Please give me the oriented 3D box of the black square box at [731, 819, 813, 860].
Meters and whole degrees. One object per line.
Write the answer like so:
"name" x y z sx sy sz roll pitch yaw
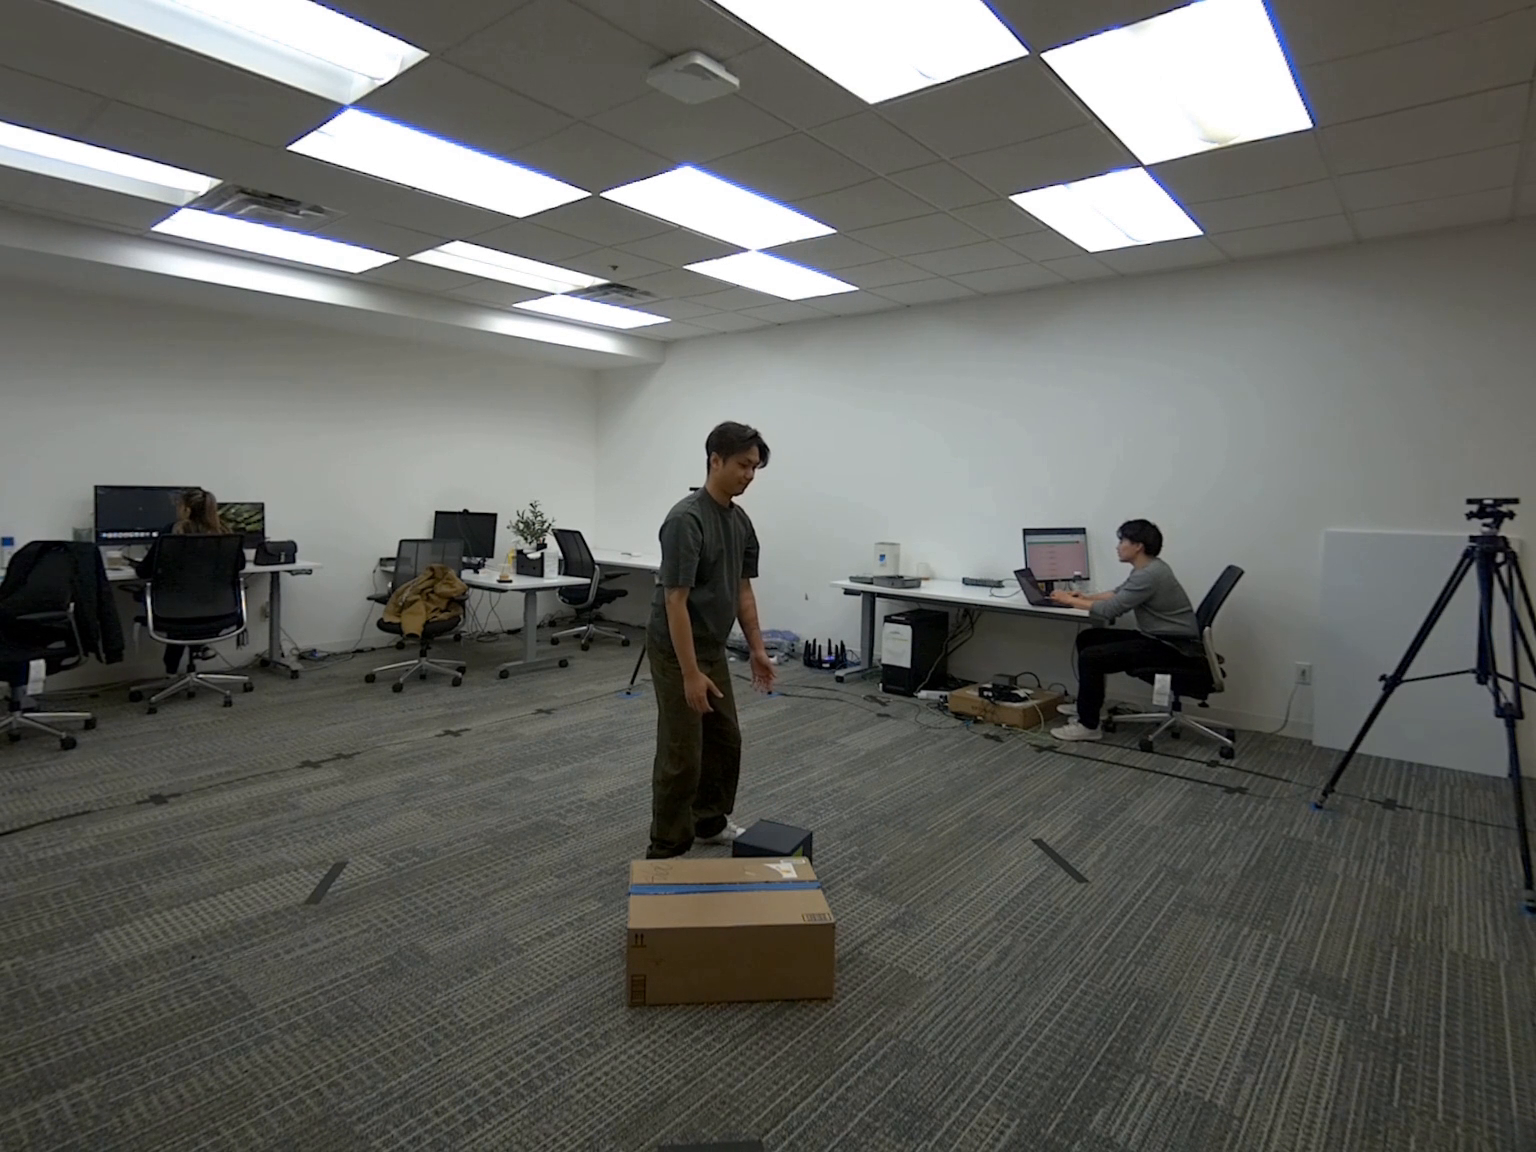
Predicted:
"black square box" 0.009 0.997 3.034 0.223 0.155 0.222 4 5 27
